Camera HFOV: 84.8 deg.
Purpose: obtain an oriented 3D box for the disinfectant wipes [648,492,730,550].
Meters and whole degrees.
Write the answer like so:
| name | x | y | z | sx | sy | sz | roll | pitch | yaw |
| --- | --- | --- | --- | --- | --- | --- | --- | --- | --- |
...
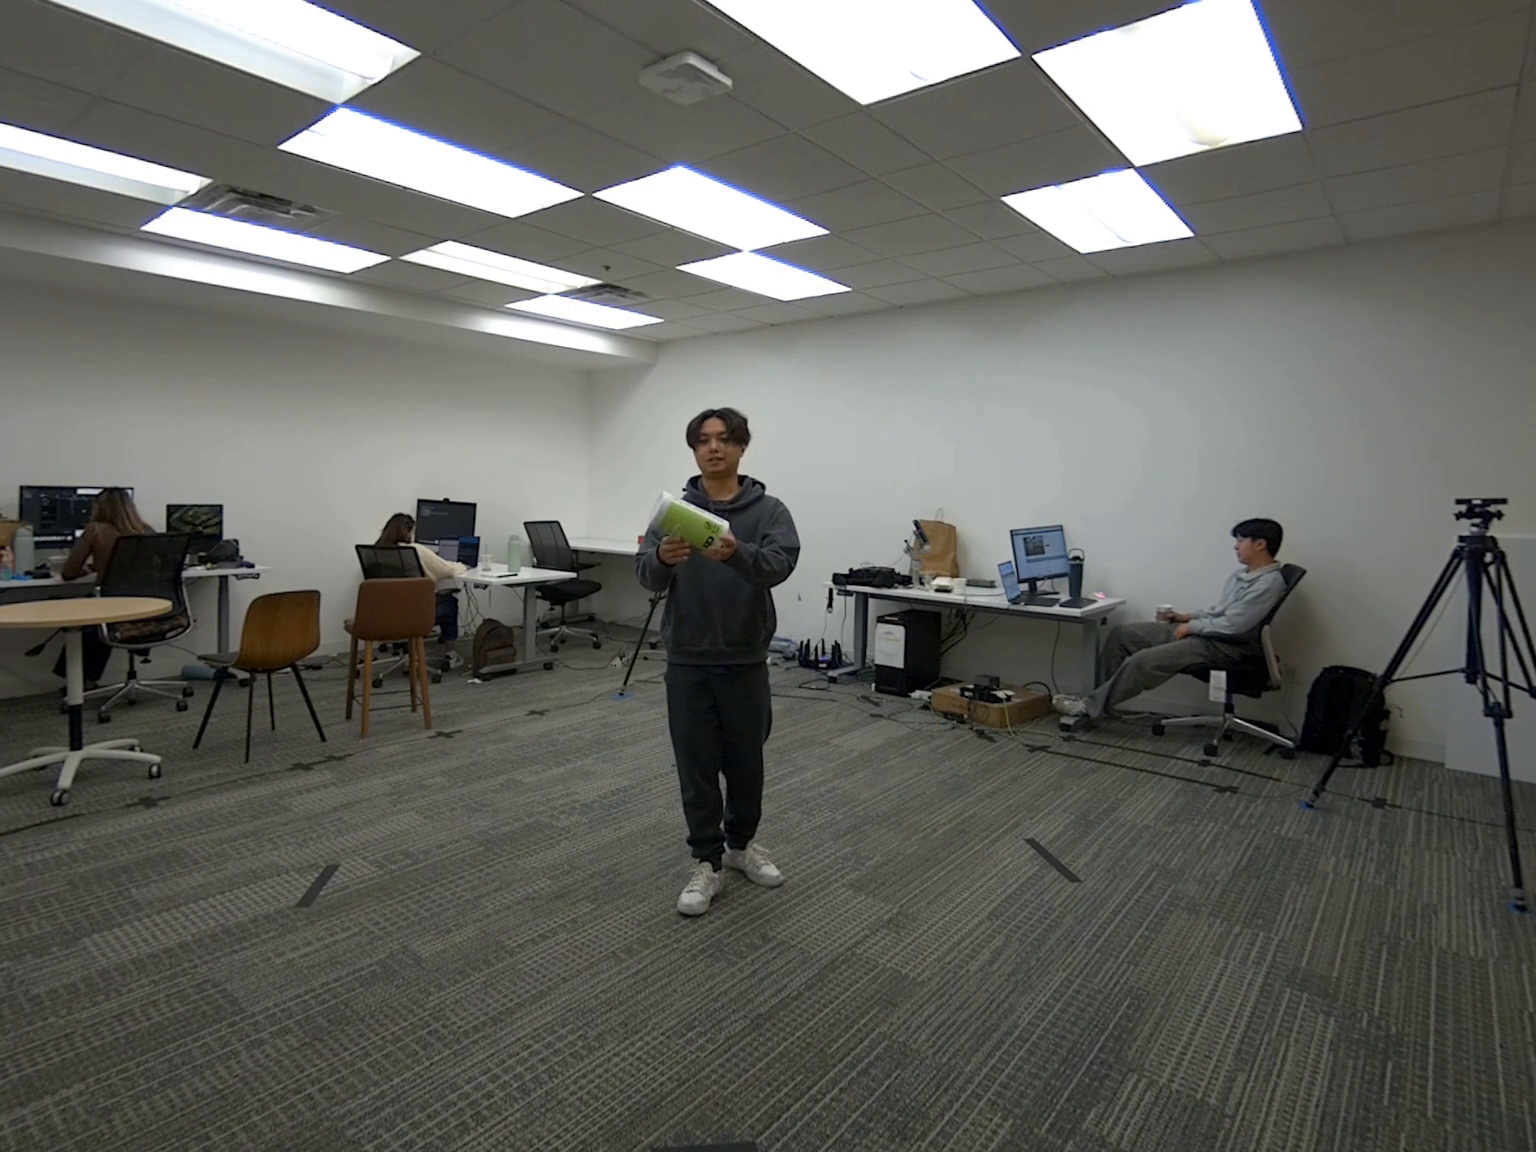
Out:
| name | x | y | z | sx | sy | sz | roll | pitch | yaw |
| --- | --- | --- | --- | --- | --- | --- | --- | --- | --- |
| disinfectant wipes | -0.243 | -0.157 | 2.448 | 0.214 | 0.118 | 0.120 | 25 | -2 | -13 |
